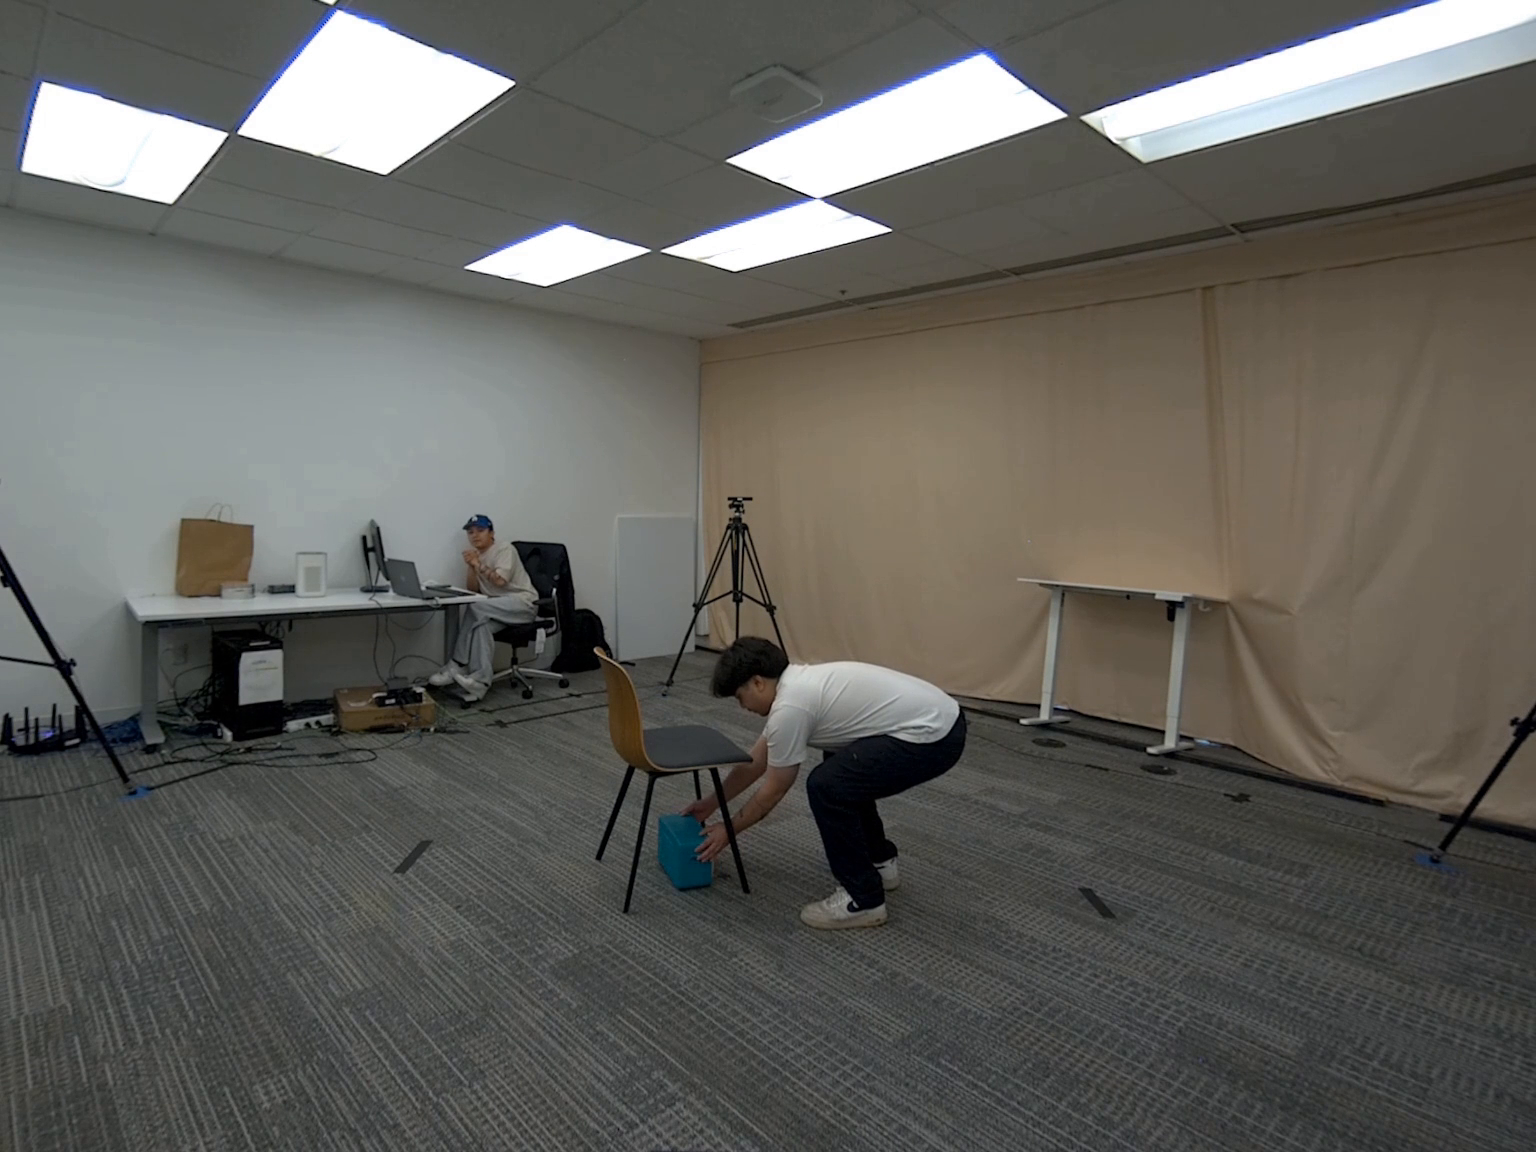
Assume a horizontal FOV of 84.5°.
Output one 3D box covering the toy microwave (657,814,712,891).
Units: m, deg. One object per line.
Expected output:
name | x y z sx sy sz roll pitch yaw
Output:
toy microwave | -0.304 1.010 3.111 0.150 0.183 0.292 1 5 -22
